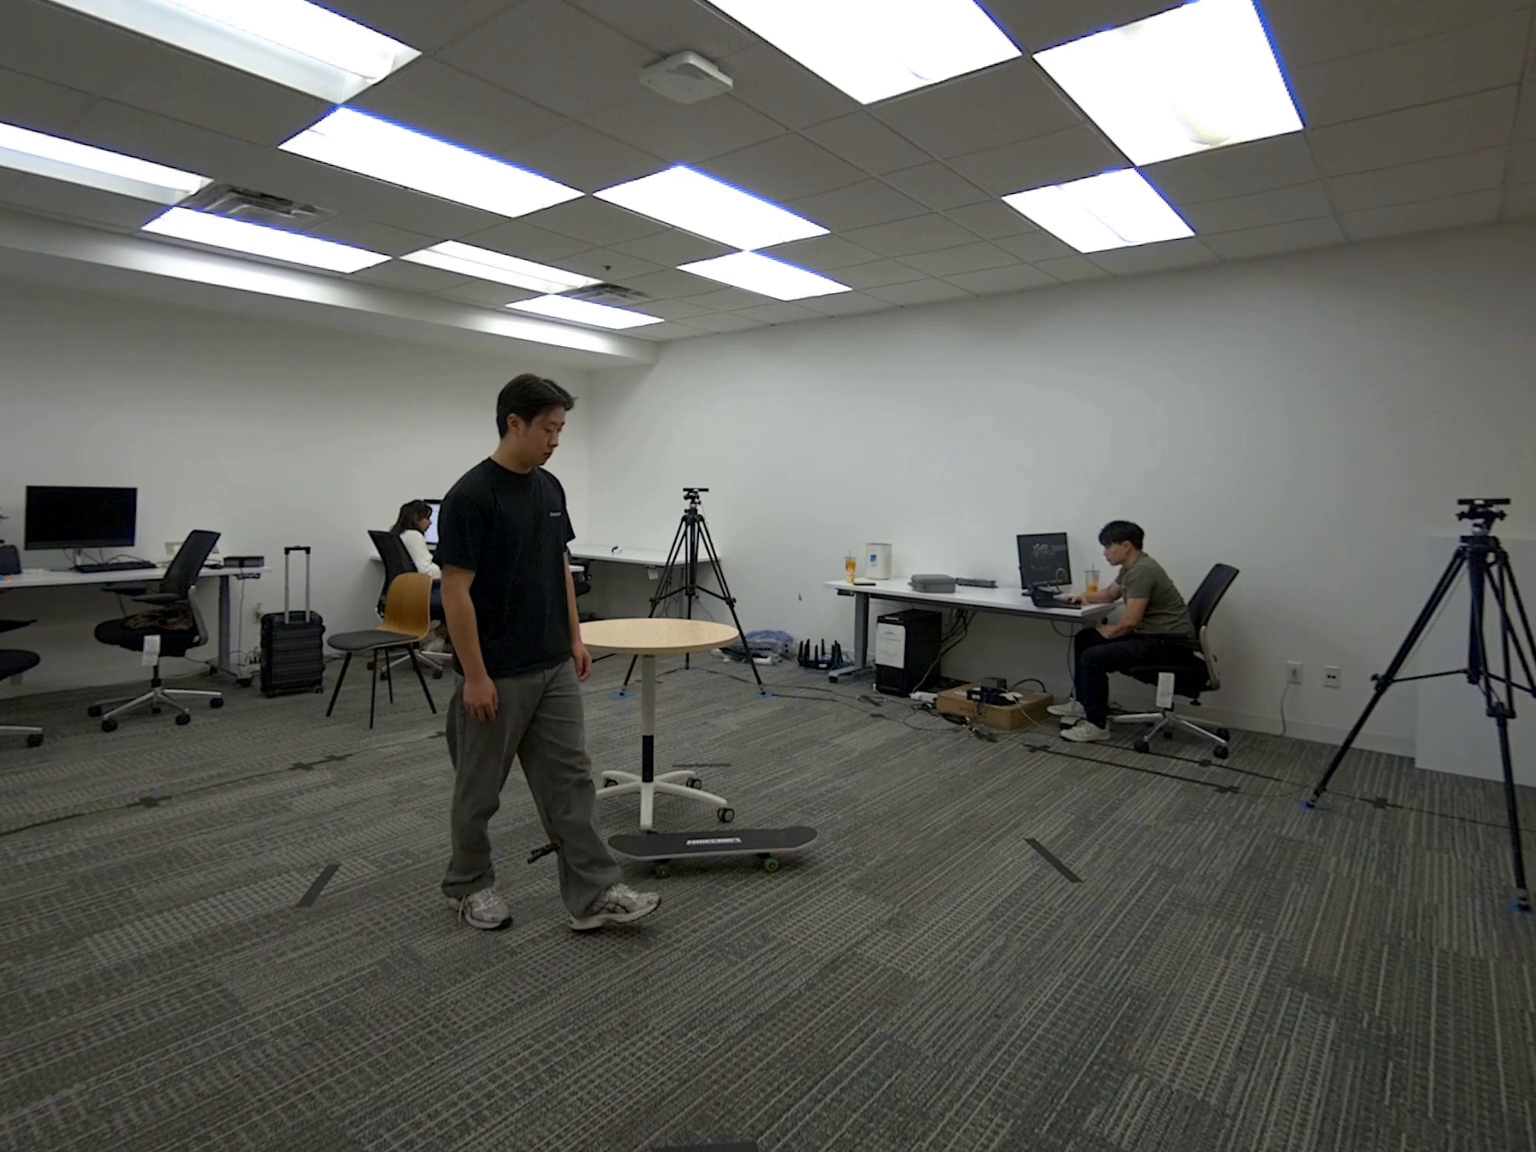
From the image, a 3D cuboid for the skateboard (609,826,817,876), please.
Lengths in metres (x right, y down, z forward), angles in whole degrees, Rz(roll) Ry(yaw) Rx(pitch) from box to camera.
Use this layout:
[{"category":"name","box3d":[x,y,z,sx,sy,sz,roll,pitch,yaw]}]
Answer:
[{"category":"skateboard","box3d":[-0.205,1.010,3.143,0.777,0.110,0.196,0,5,-10]}]
